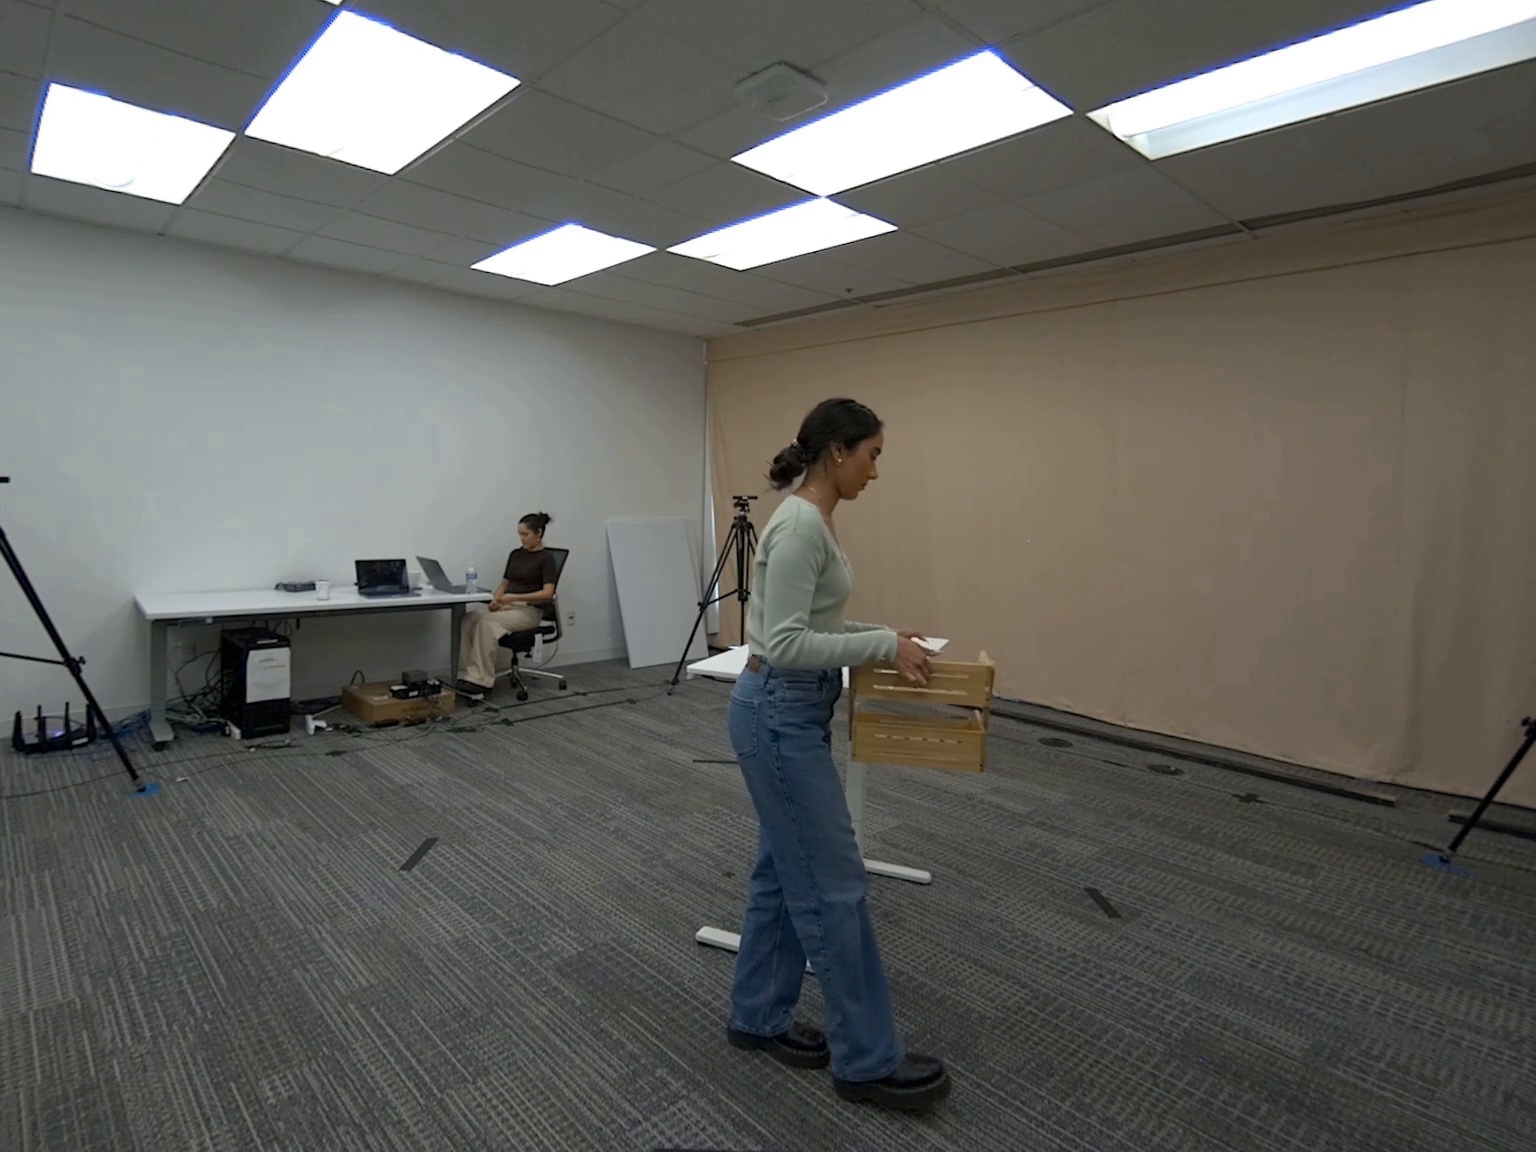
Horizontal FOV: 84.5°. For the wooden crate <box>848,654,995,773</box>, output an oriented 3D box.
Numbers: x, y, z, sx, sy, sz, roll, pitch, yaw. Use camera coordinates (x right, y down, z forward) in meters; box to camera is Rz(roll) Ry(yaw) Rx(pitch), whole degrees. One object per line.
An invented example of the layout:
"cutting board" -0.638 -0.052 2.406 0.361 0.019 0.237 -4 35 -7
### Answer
"wooden crate" 0.352 0.299 2.017 0.327 0.272 0.301 1 7 10
